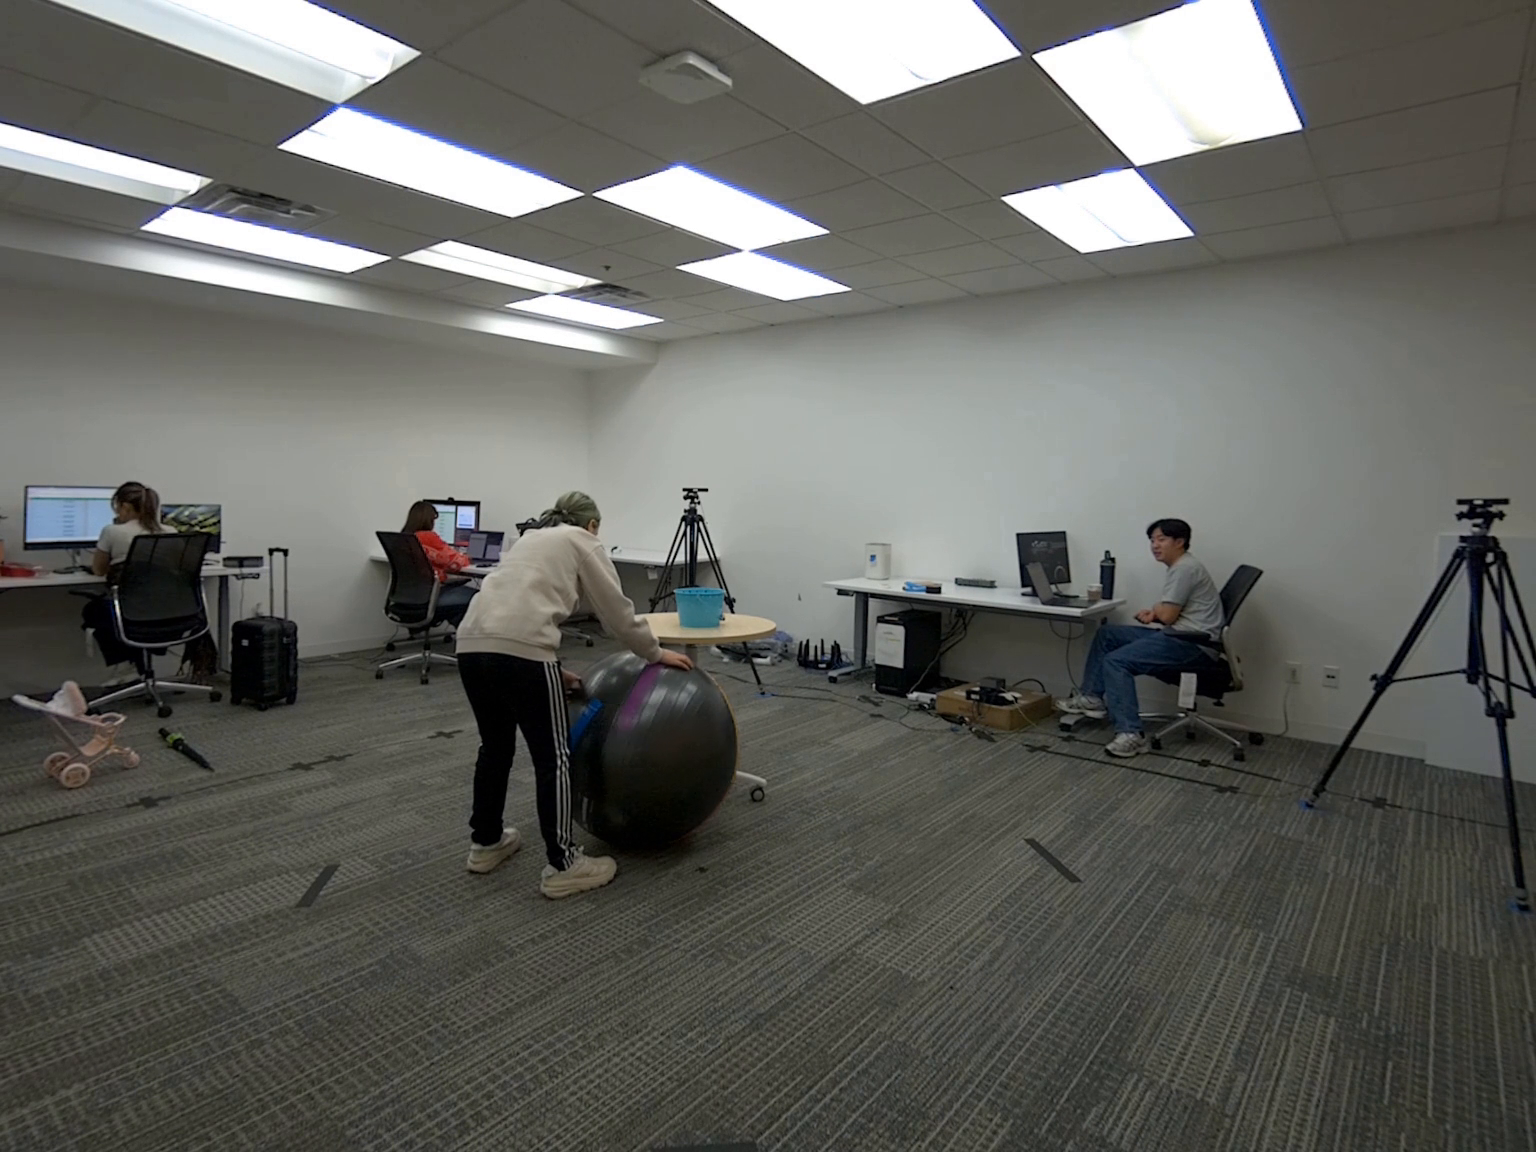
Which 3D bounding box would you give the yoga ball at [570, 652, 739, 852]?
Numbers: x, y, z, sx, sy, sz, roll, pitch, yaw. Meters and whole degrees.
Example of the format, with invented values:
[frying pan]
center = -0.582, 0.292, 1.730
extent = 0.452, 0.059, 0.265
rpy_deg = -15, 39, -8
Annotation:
[yoga ball]
center = -0.501, 0.670, 3.362
extent = 0.757, 0.756, 0.761
rpy_deg = 1, 4, -2
